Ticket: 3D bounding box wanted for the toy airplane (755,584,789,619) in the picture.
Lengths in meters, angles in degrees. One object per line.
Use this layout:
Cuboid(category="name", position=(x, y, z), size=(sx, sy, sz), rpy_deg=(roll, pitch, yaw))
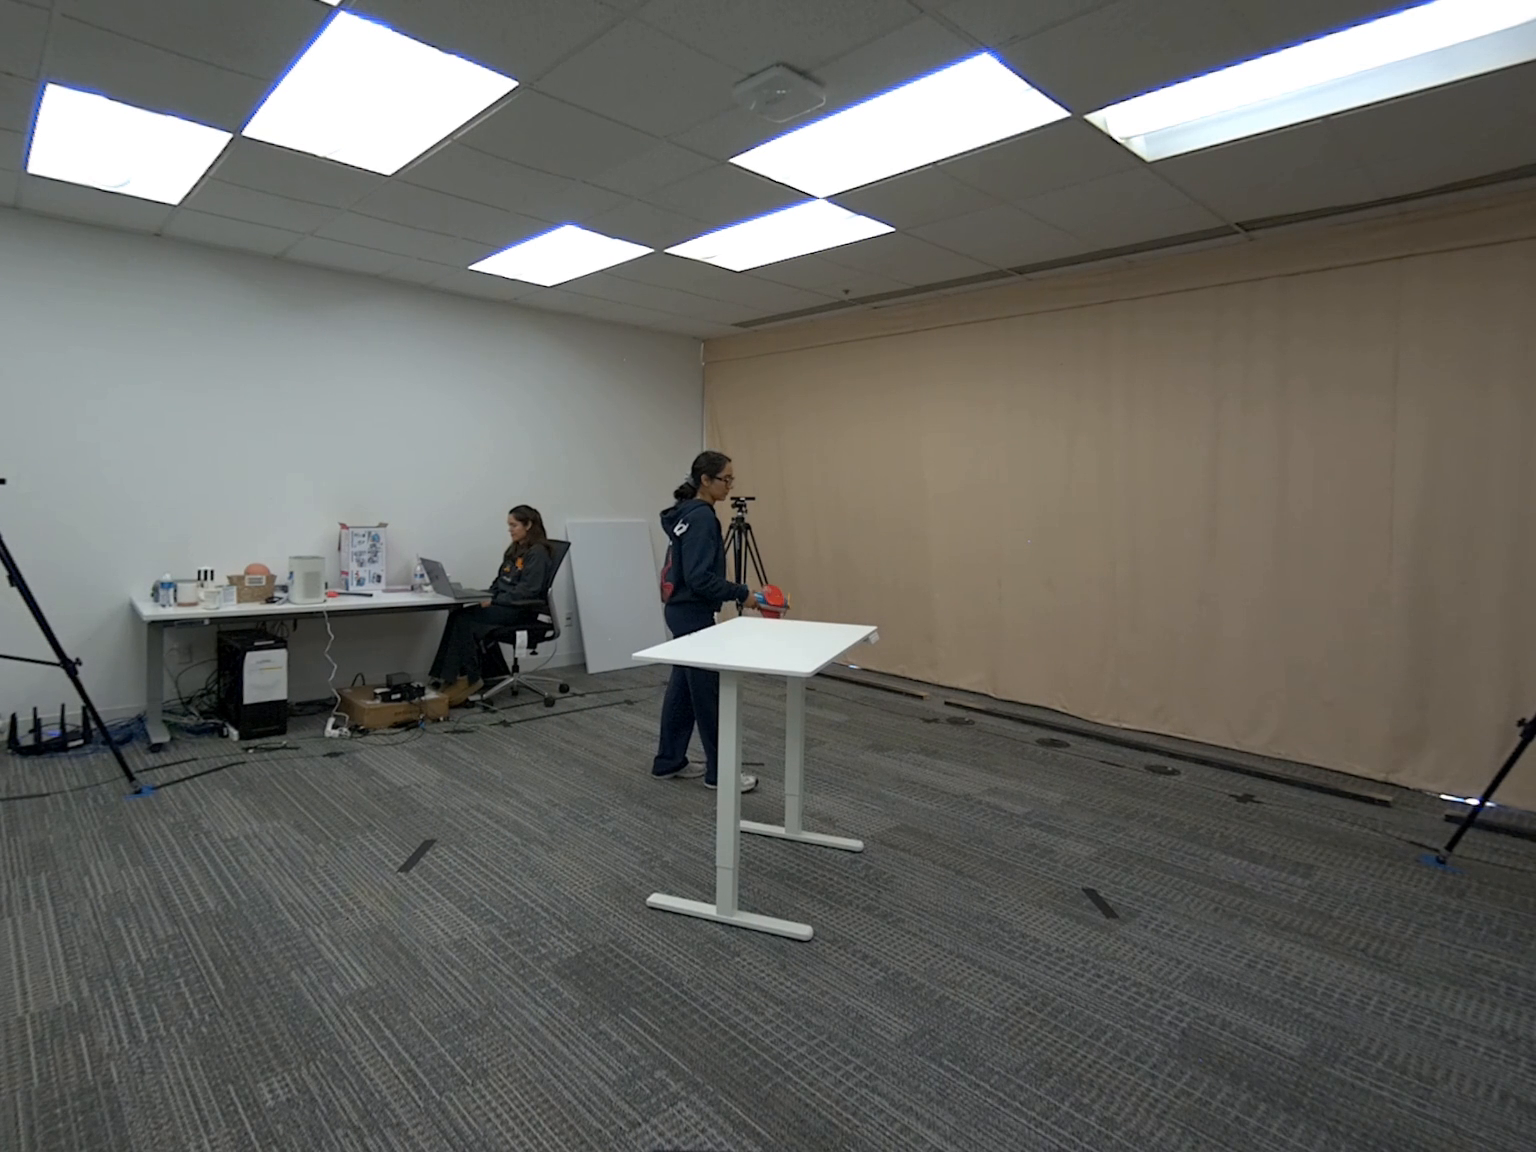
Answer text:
Cuboid(category="toy airplane", position=(-0.040, 0.131, 3.994), size=(0.252, 0.156, 0.259), rpy_deg=(16, 20, -39))
